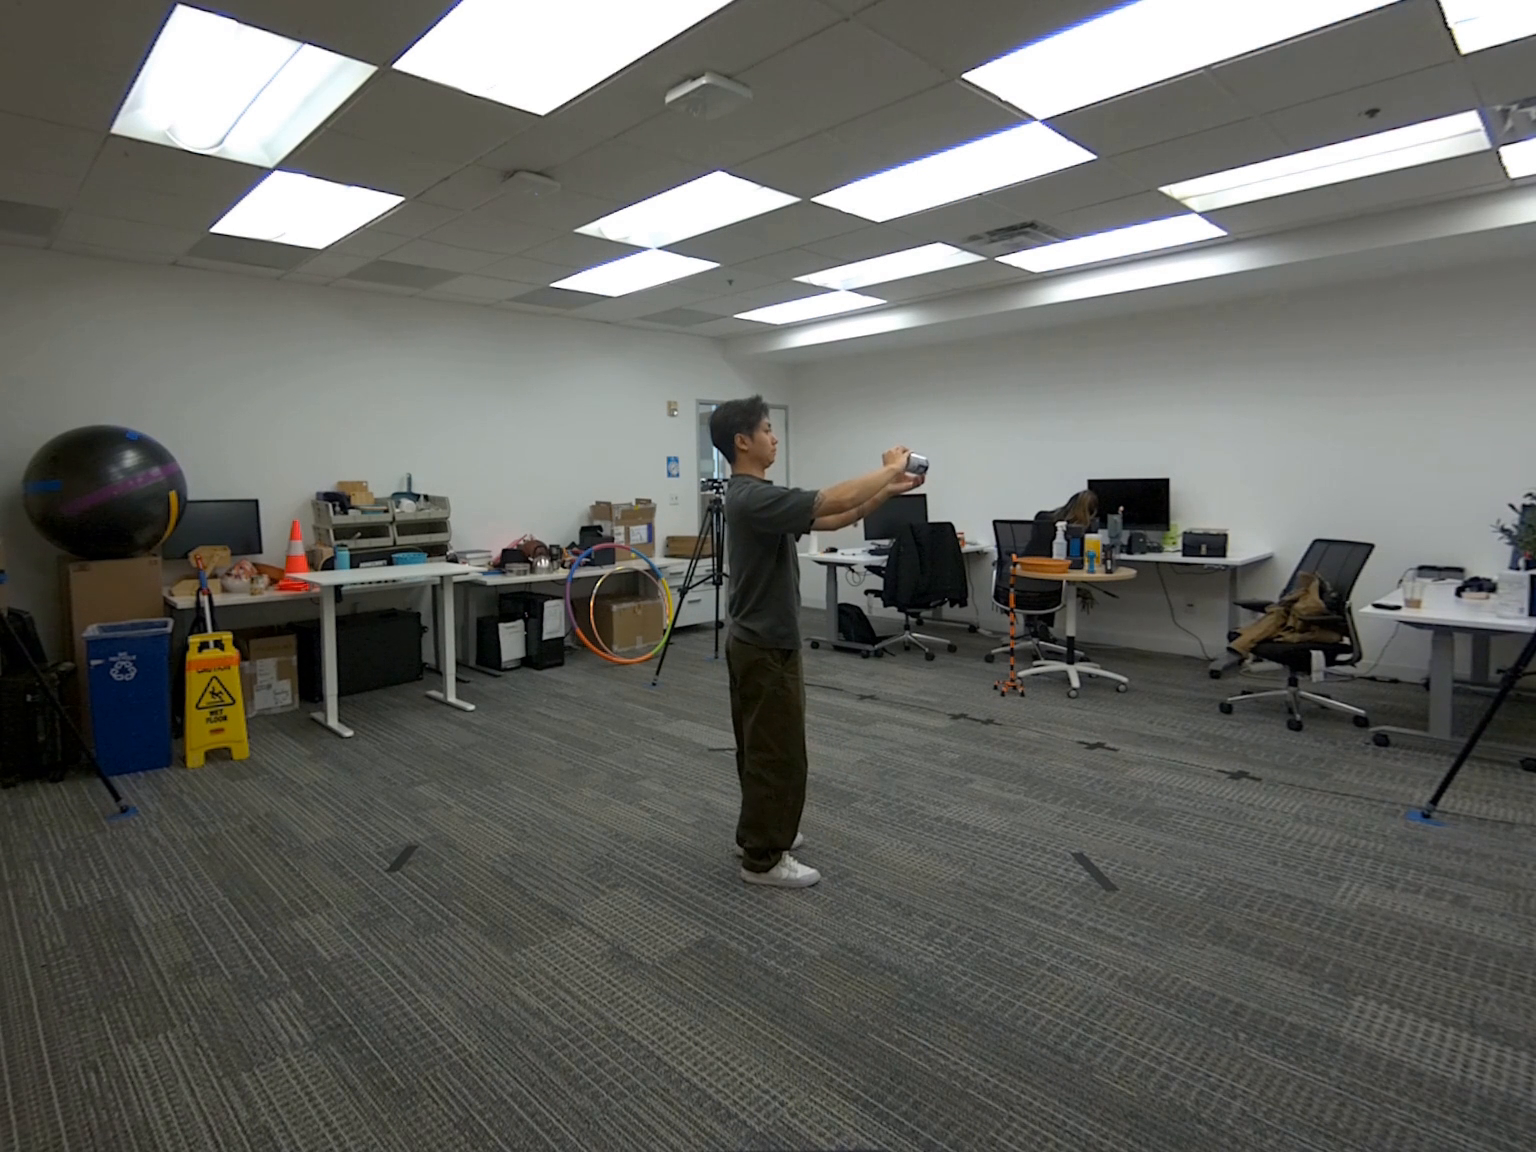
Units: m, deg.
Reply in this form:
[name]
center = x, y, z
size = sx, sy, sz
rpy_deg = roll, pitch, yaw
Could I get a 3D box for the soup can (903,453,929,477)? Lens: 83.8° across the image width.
[soup can]
center = 0.480, -0.379, 2.866
size = 0.118, 0.067, 0.069
rpy_deg = 1, 2, -38
